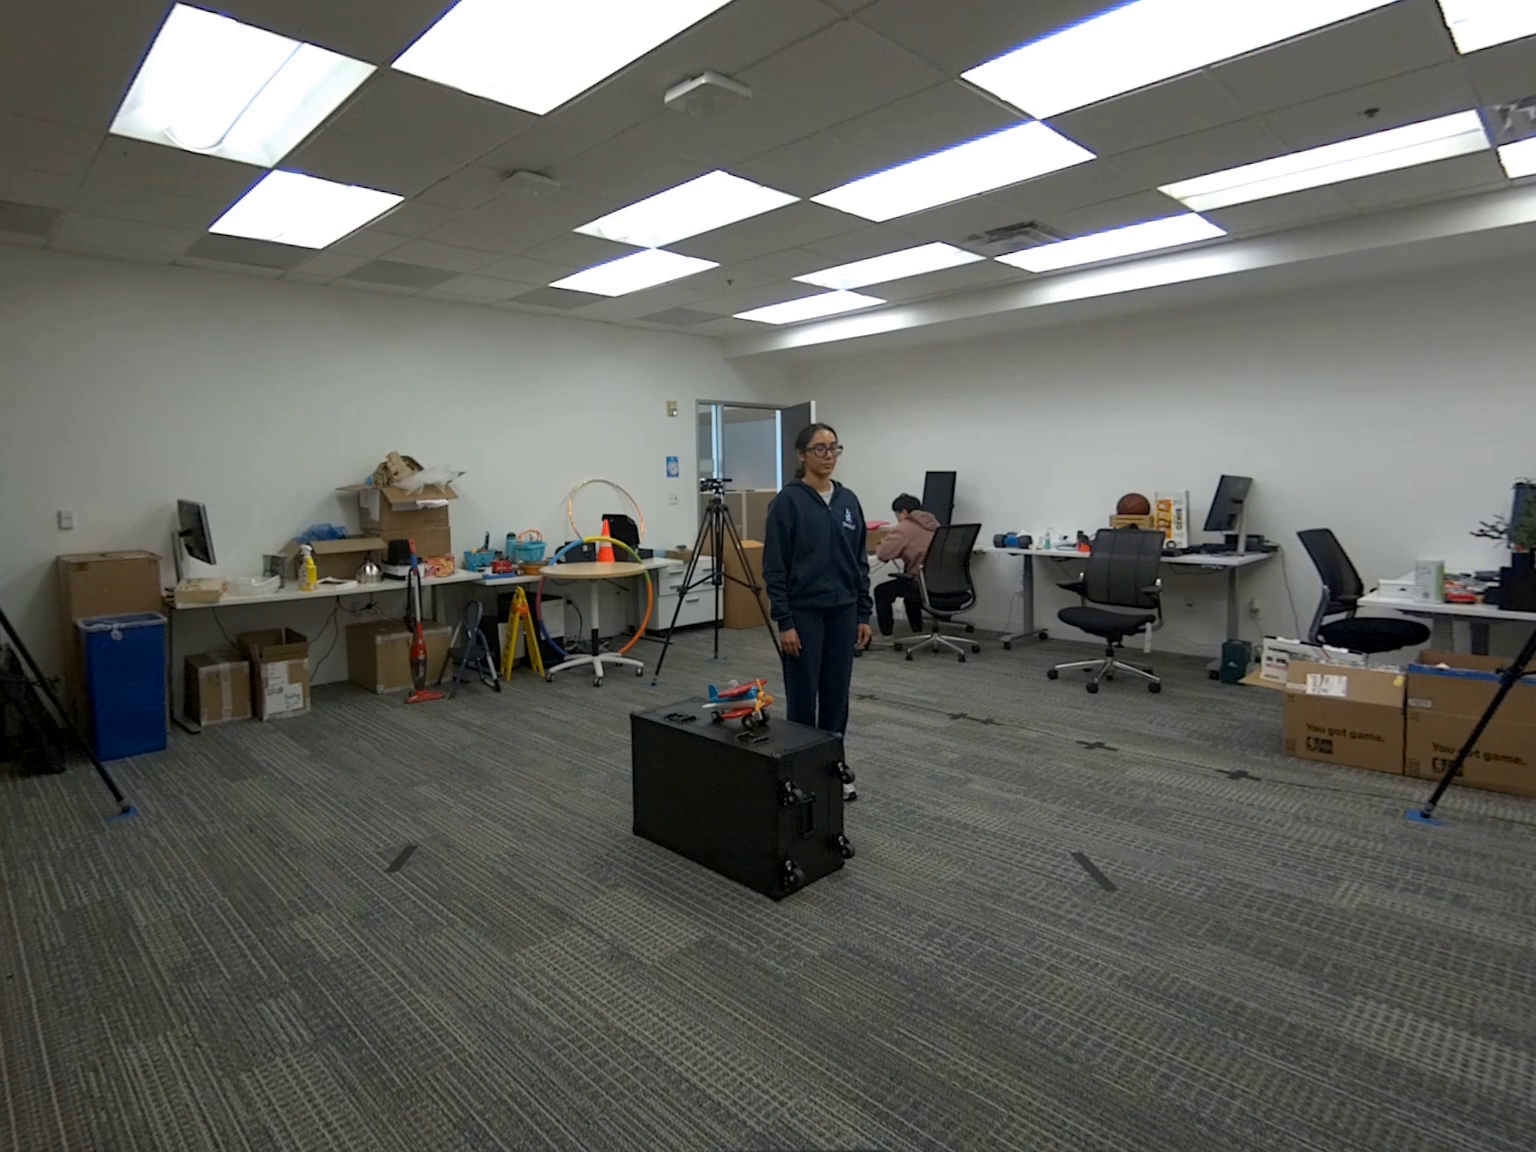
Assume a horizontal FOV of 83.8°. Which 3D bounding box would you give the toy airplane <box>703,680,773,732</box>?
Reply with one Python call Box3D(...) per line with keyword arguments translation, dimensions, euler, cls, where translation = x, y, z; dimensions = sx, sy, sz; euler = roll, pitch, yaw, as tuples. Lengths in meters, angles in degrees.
Box3D(translation=(-0.126, 0.478, 3.179), dimensions=(0.261, 0.156, 0.250), euler=(1, 6, 8), cls="toy airplane")
